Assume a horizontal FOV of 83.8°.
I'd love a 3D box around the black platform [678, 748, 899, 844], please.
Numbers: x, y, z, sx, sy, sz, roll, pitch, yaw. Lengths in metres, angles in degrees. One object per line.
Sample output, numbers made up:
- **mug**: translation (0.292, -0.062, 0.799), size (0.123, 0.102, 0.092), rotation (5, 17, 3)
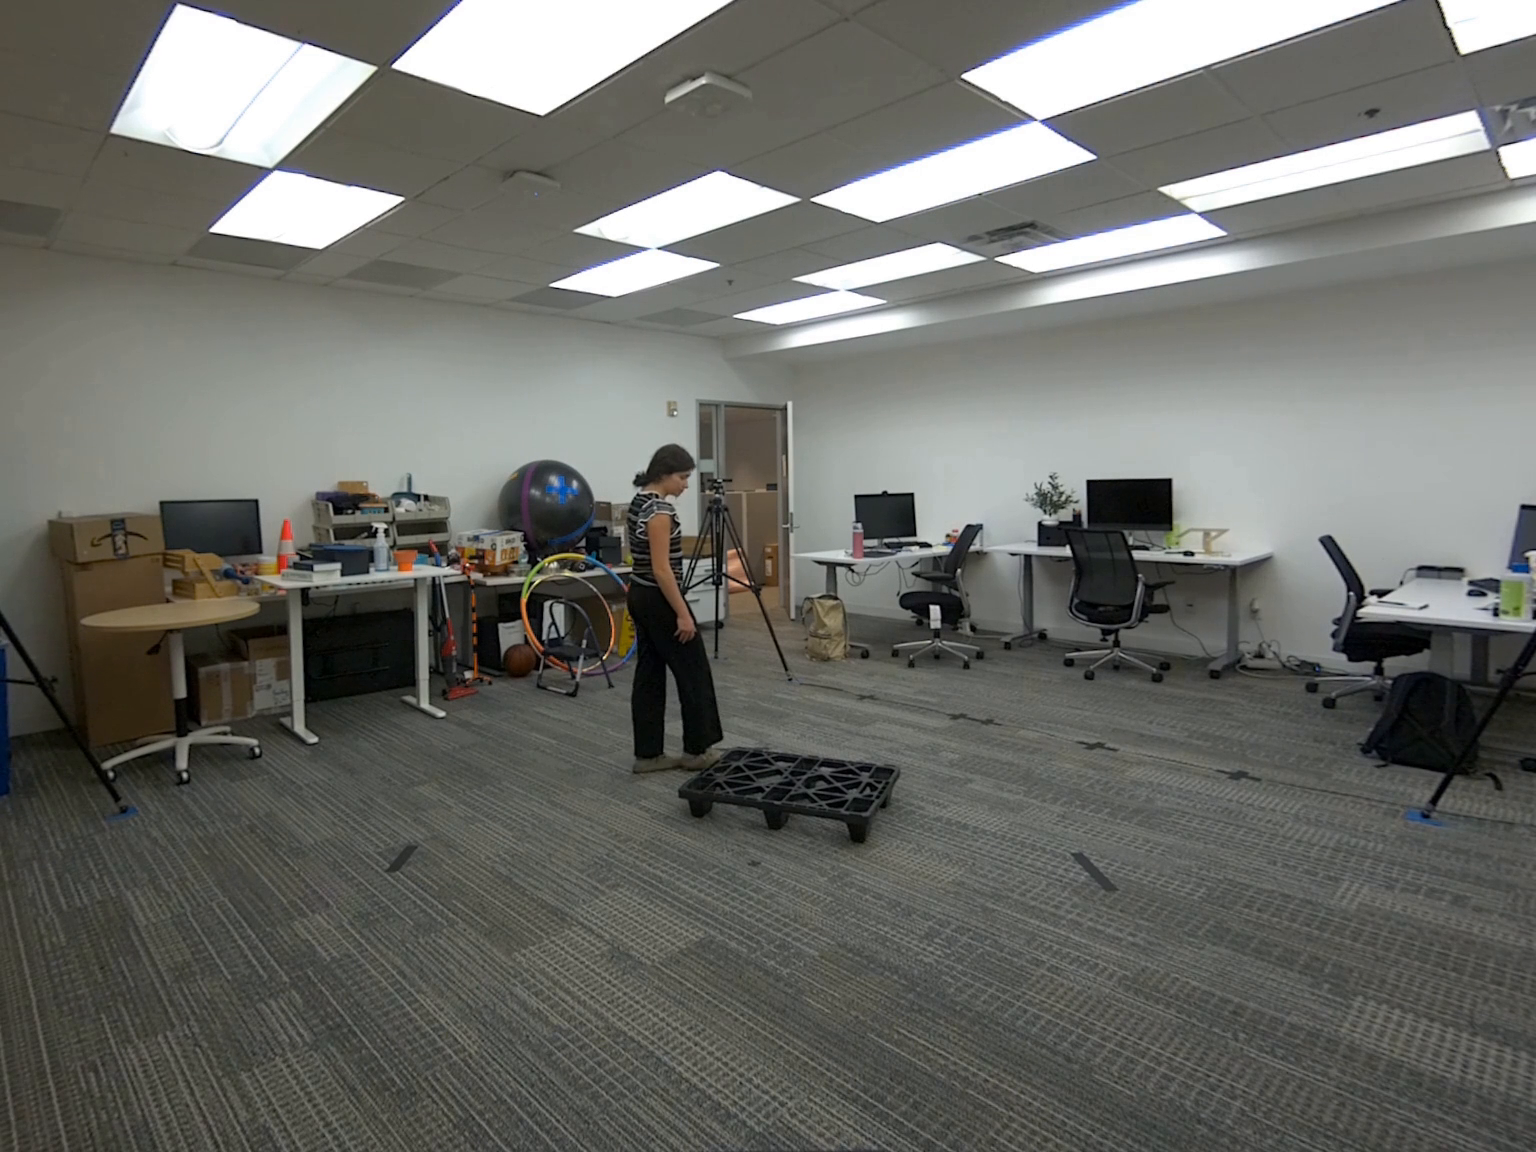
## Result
- **black platform**: translation (0.107, 0.916, 3.609), size (0.823, 0.142, 0.595), rotation (1, 7, 22)
